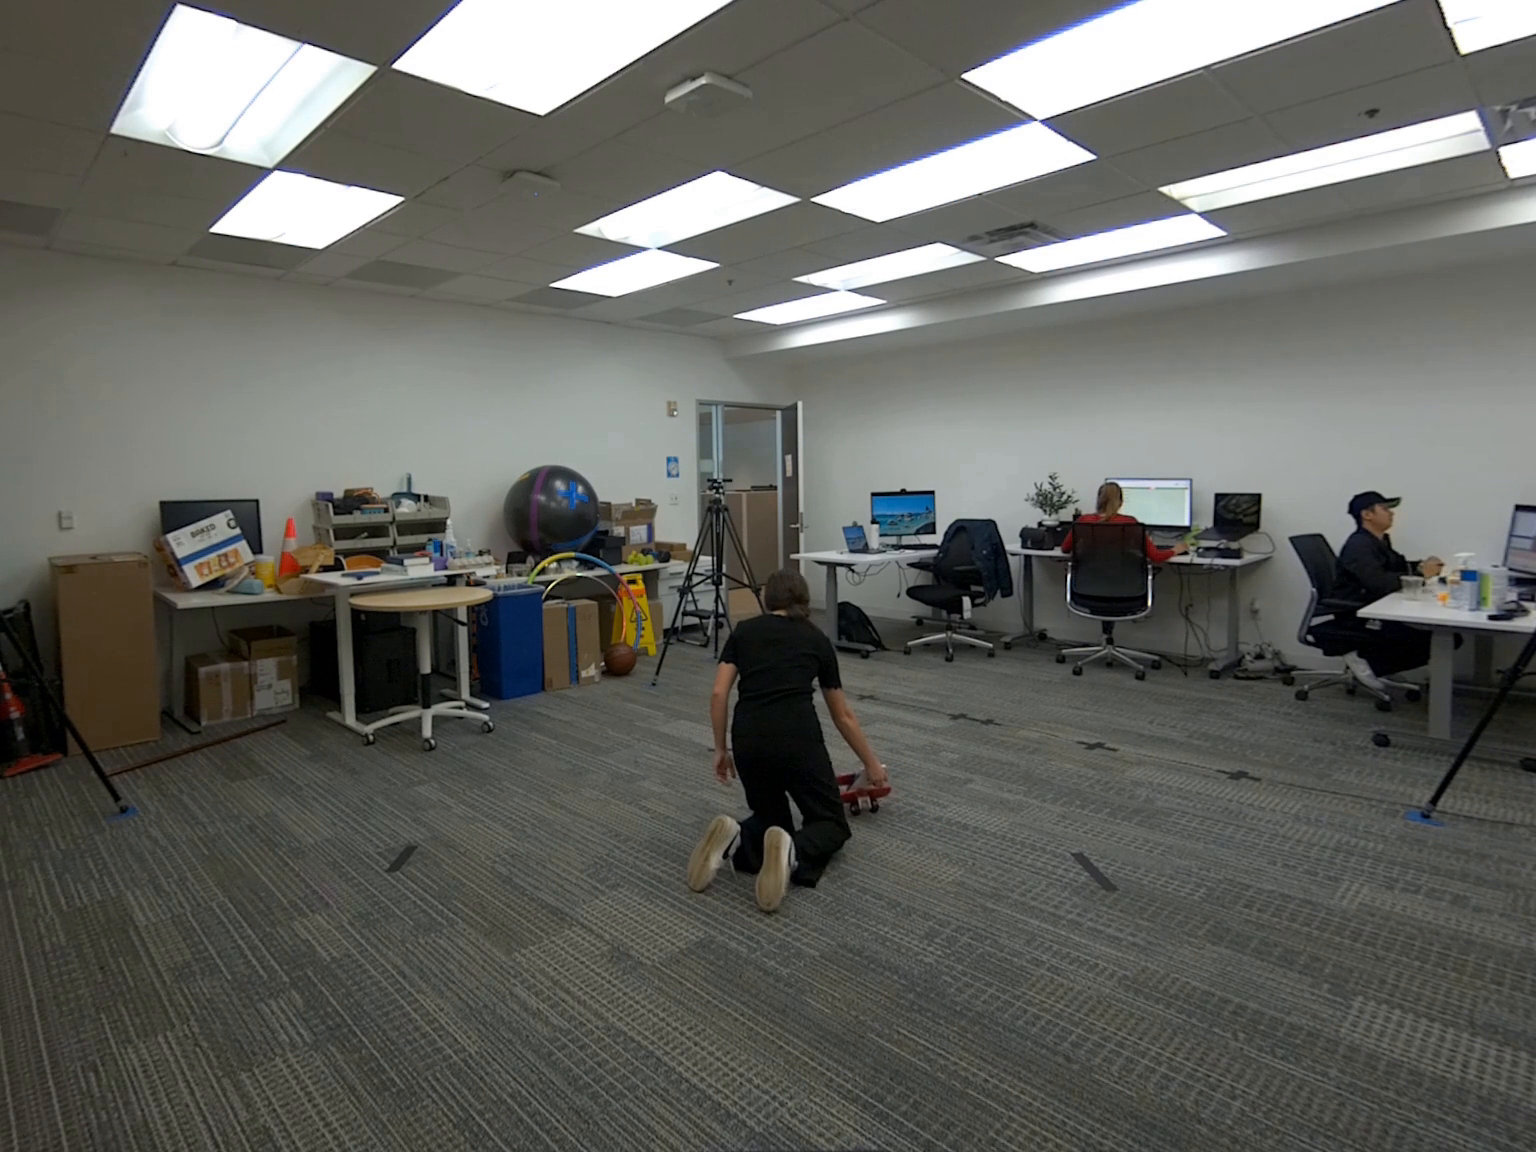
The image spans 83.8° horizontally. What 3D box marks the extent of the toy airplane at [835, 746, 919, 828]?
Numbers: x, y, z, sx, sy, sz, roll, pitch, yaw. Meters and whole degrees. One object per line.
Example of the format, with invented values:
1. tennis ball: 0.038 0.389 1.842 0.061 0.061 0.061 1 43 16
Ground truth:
1. toy airplane: 0.420 0.869 3.552 0.242 0.258 0.162 25 22 -34
